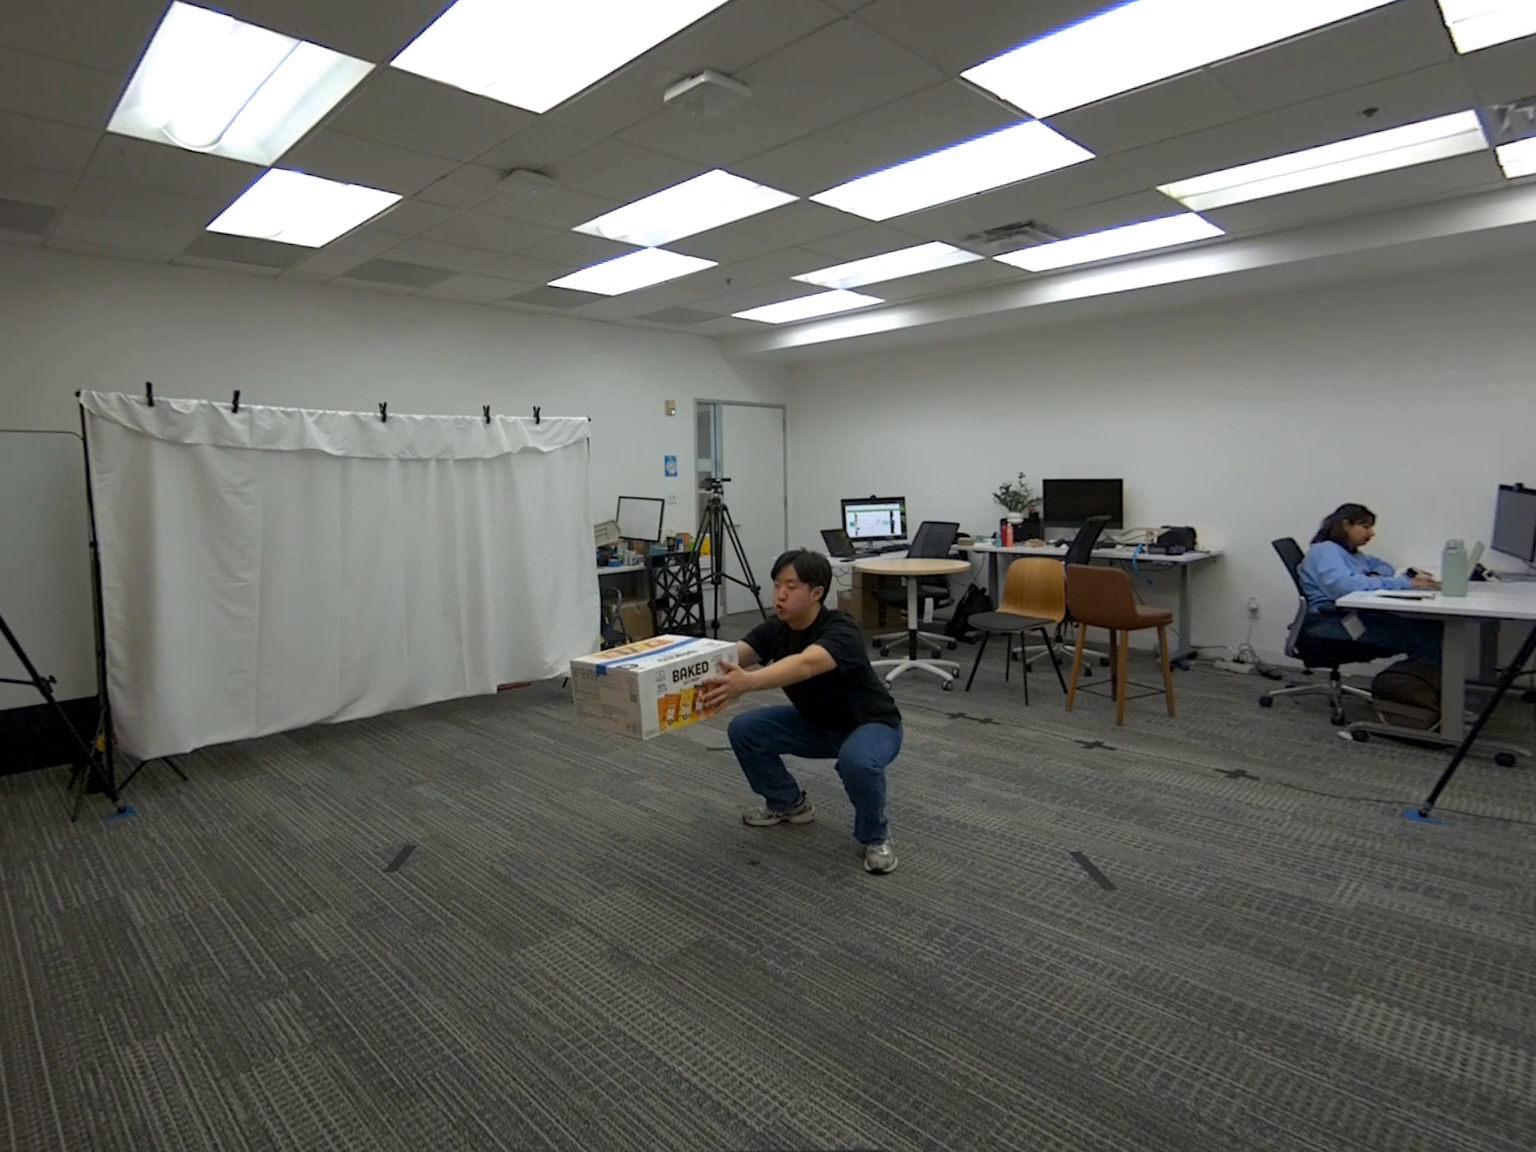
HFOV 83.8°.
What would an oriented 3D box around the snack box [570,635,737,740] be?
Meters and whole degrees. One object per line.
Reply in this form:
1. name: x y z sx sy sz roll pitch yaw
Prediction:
1. snack box: -0.345 0.309 2.669 0.350 0.205 0.395 1 8 44
